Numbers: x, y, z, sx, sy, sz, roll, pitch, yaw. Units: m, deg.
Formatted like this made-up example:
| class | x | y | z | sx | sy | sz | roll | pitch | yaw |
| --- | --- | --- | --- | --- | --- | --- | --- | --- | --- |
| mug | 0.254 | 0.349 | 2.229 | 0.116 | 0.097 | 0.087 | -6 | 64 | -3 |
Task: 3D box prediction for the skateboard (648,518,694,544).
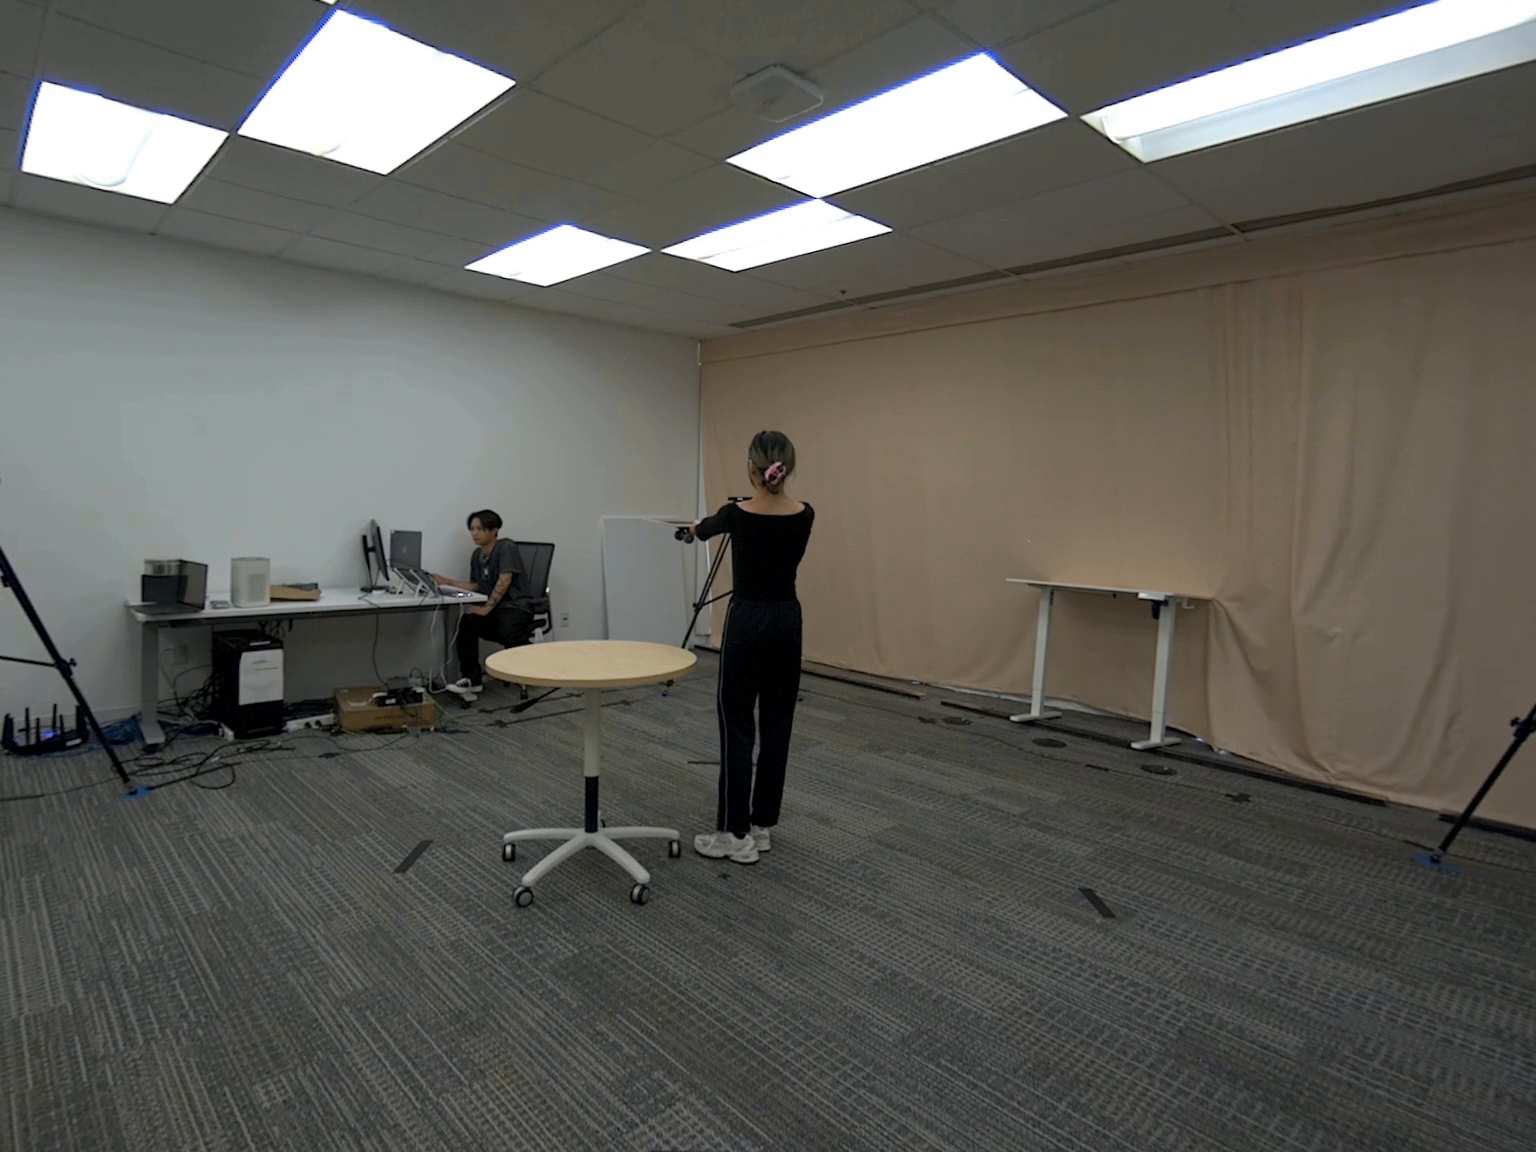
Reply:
| class | x | y | z | sx | sy | sz | roll | pitch | yaw |
| --- | --- | --- | --- | --- | --- | --- | --- | --- | --- |
| skateboard | -0.193 | -0.205 | 3.952 | 0.772 | 0.110 | 0.198 | 0 | 9 | -23 |
